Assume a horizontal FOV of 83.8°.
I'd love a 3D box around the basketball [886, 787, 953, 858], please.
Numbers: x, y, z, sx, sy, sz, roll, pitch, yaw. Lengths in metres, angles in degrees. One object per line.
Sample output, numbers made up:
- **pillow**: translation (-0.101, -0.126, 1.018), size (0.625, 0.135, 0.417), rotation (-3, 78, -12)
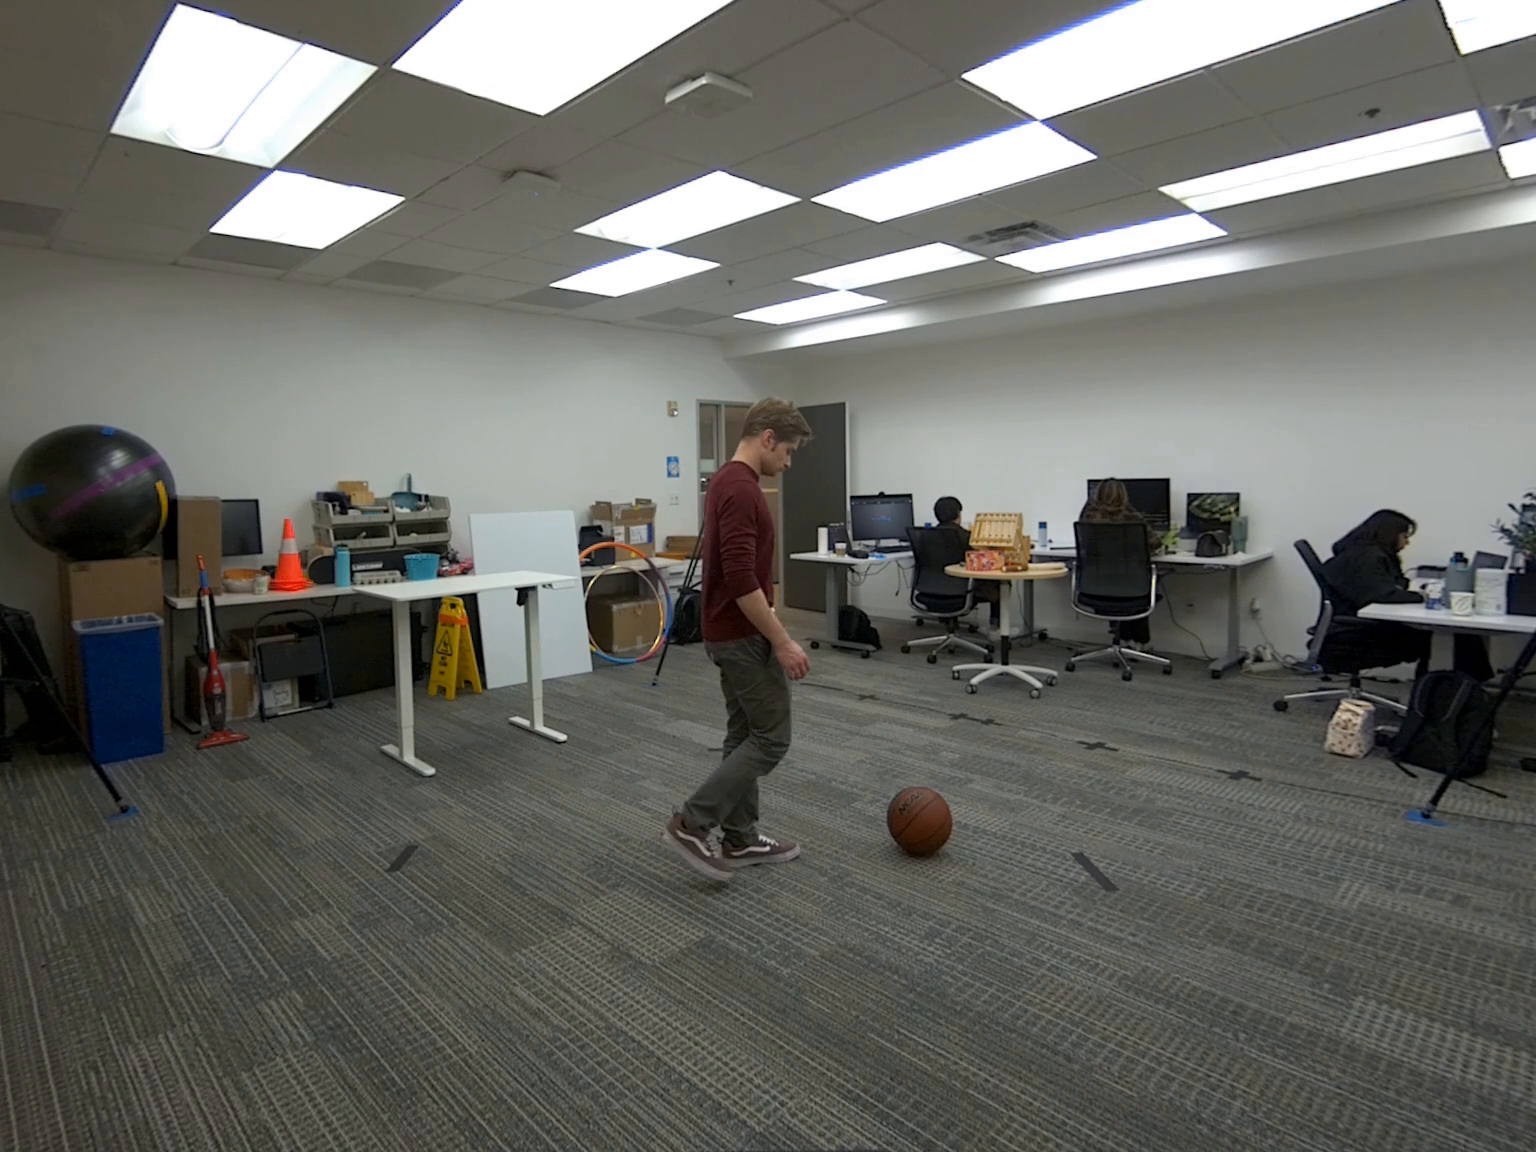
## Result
- **basketball**: translation (0.572, 0.907, 3.176), size (0.236, 0.235, 0.237), rotation (-1, 5, -2)
